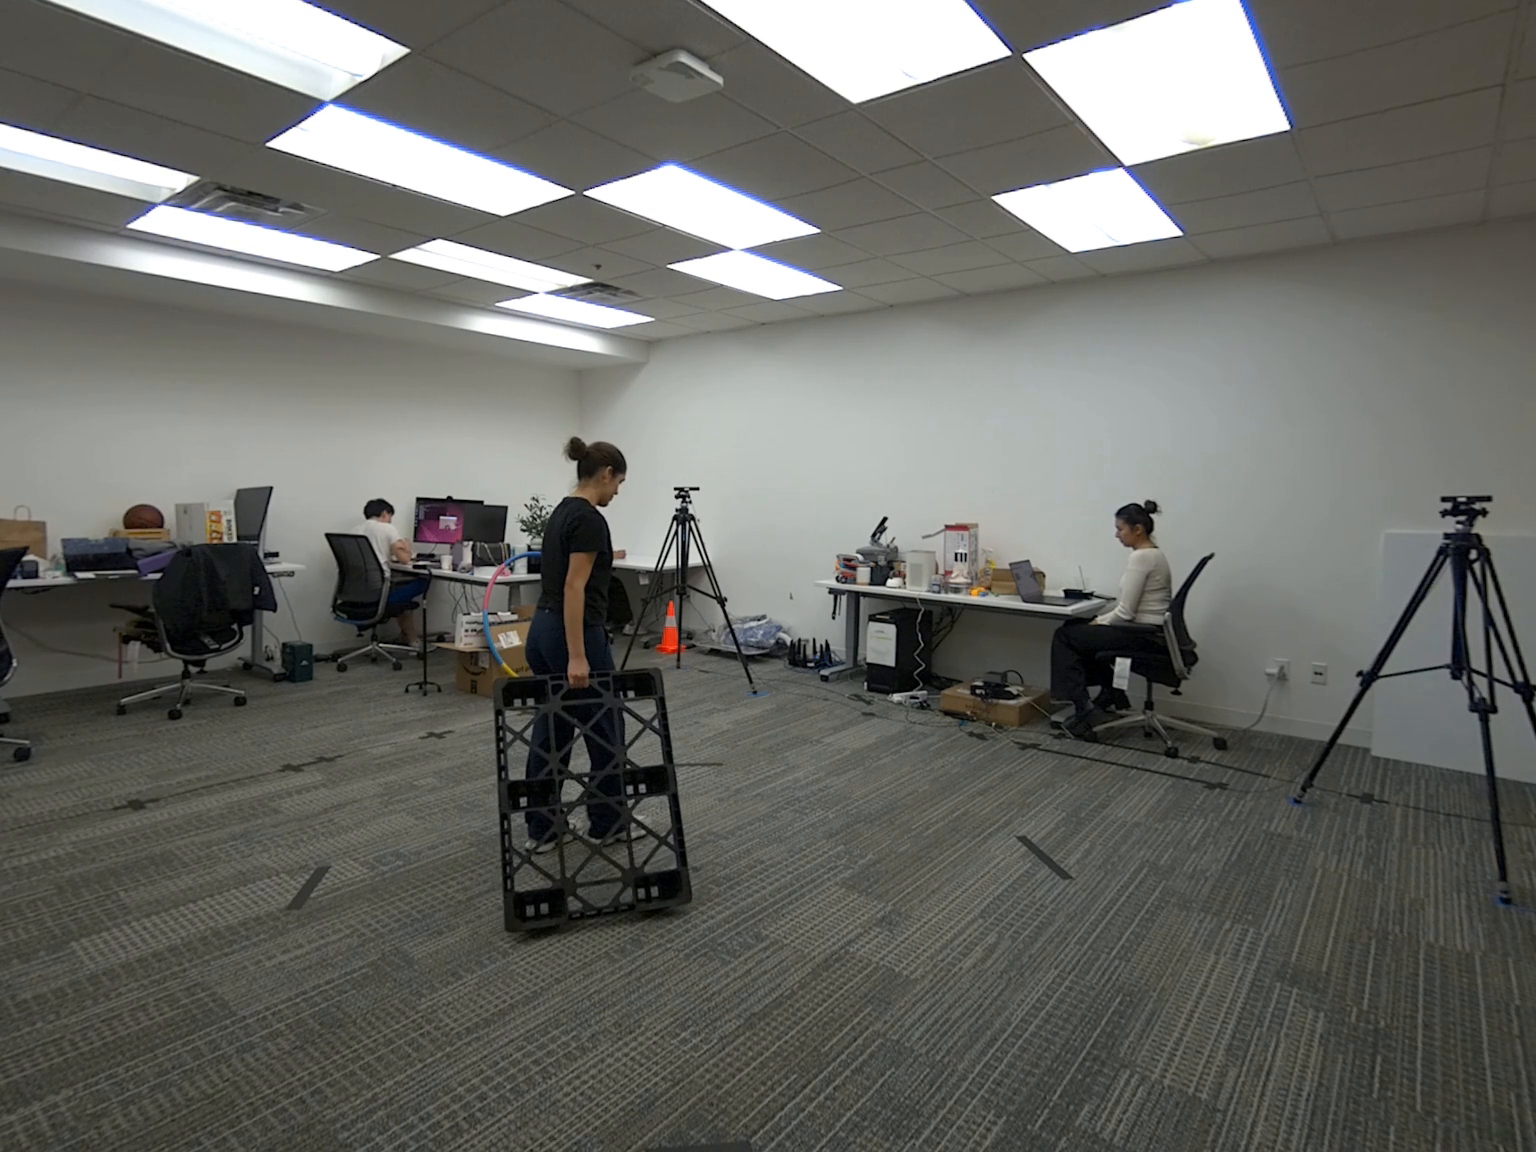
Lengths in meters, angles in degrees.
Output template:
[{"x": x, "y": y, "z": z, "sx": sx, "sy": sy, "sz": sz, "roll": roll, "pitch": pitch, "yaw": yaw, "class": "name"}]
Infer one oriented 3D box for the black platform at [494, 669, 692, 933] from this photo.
[{"x": -0.589, "y": 0.725, "z": 2.908, "sx": 0.593, "sy": 0.826, "sz": 0.142, "roll": -1, "pitch": -26, "yaw": -20, "class": "black platform"}]
